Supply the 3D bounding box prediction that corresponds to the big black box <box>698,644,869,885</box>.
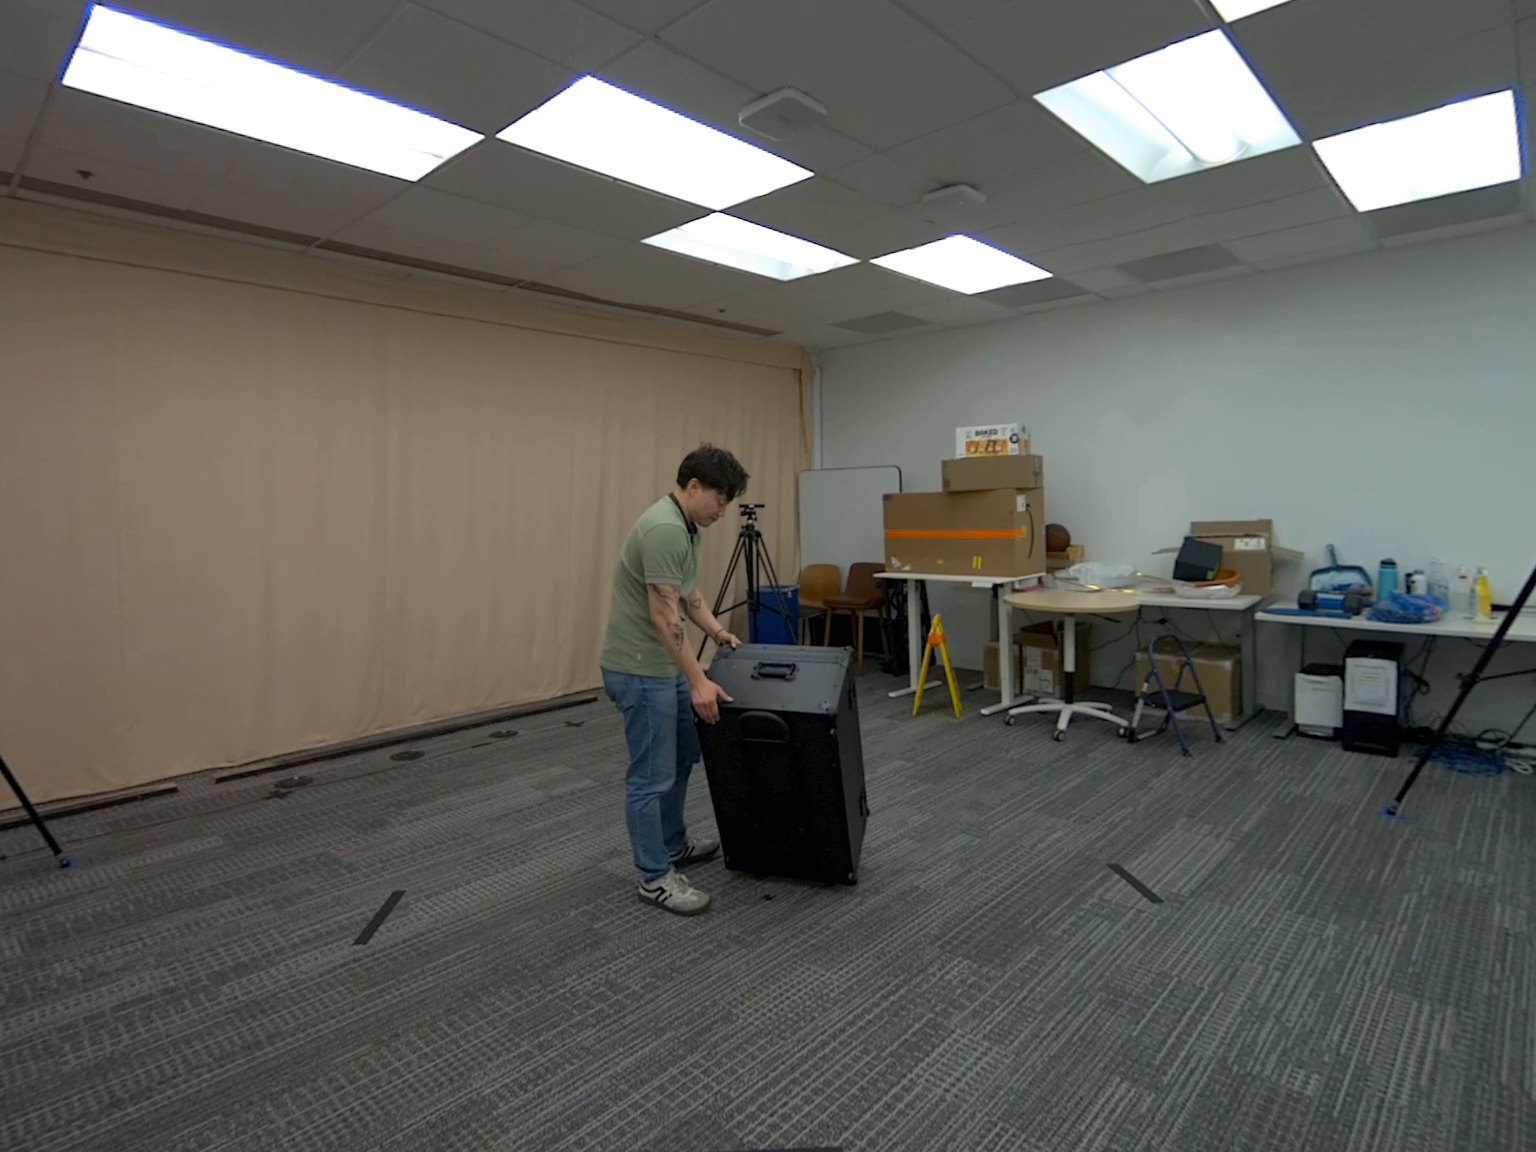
[{"bbox_3d":[0.082,0.707,3.018,0.531,0.844,0.396,2,31,17],"label":"big black box"}]
